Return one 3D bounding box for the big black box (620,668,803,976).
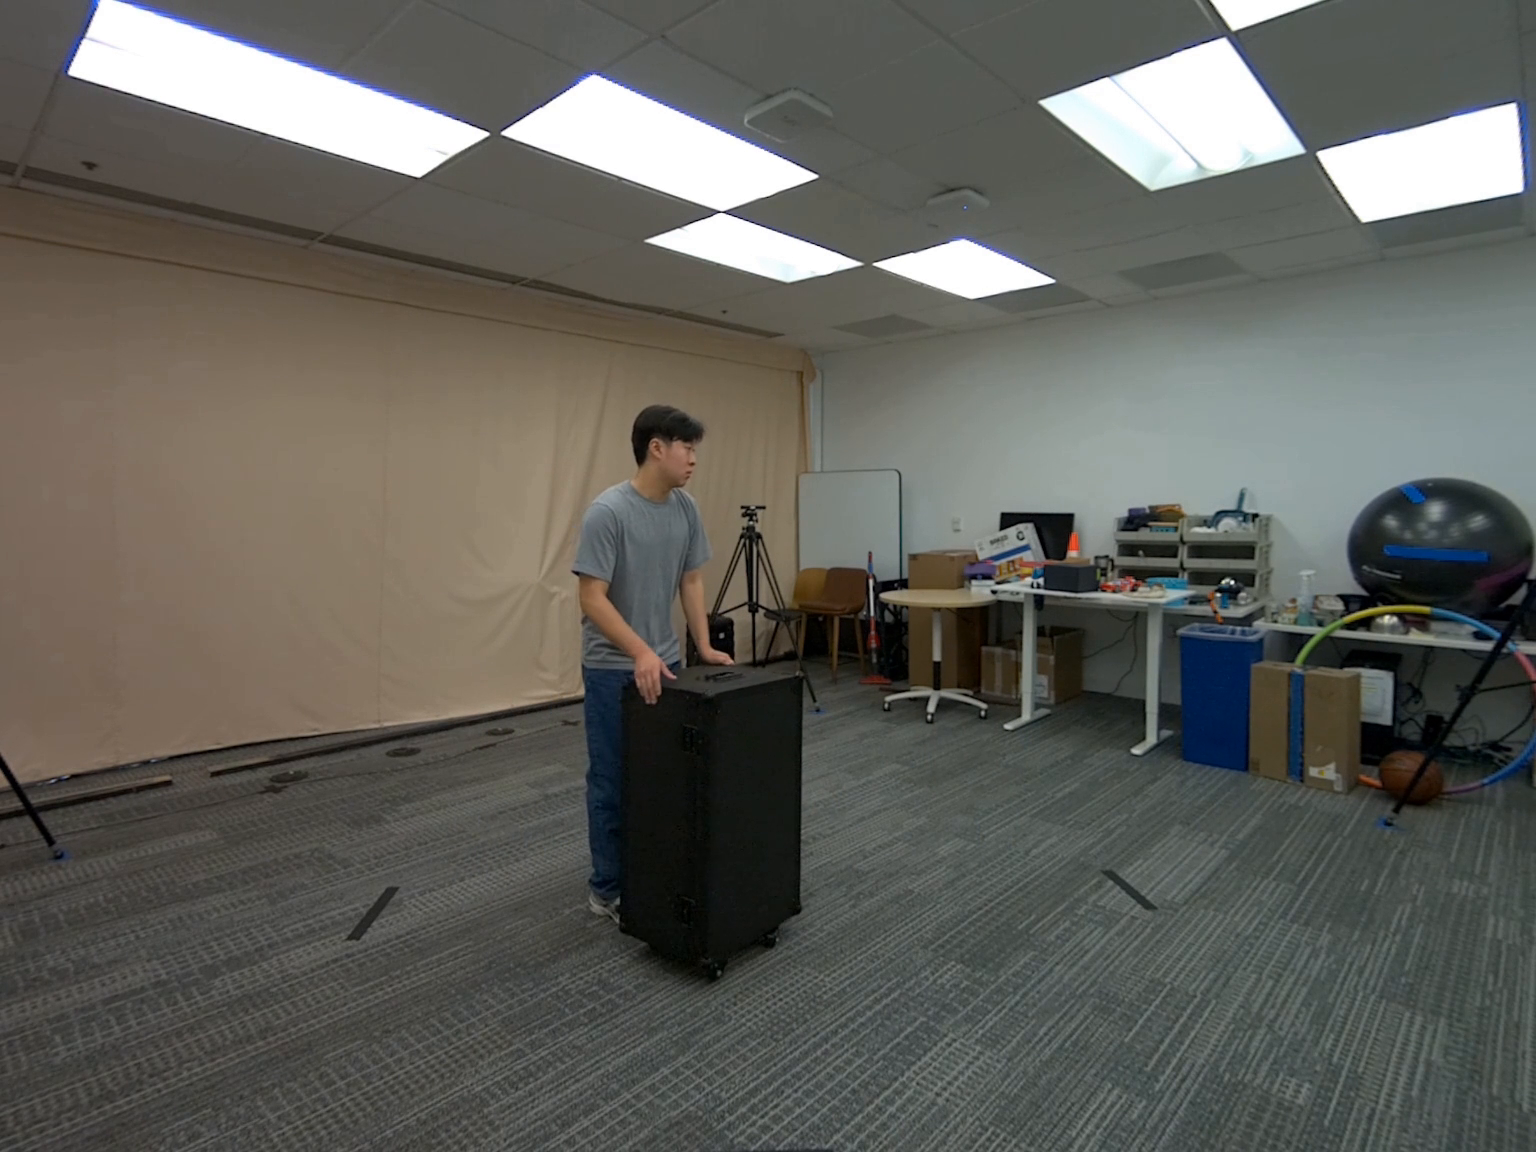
[{"bbox_3d":[-0.169,0.744,2.666,0.409,0.861,0.505,0,1,37],"label":"big black box"}]
